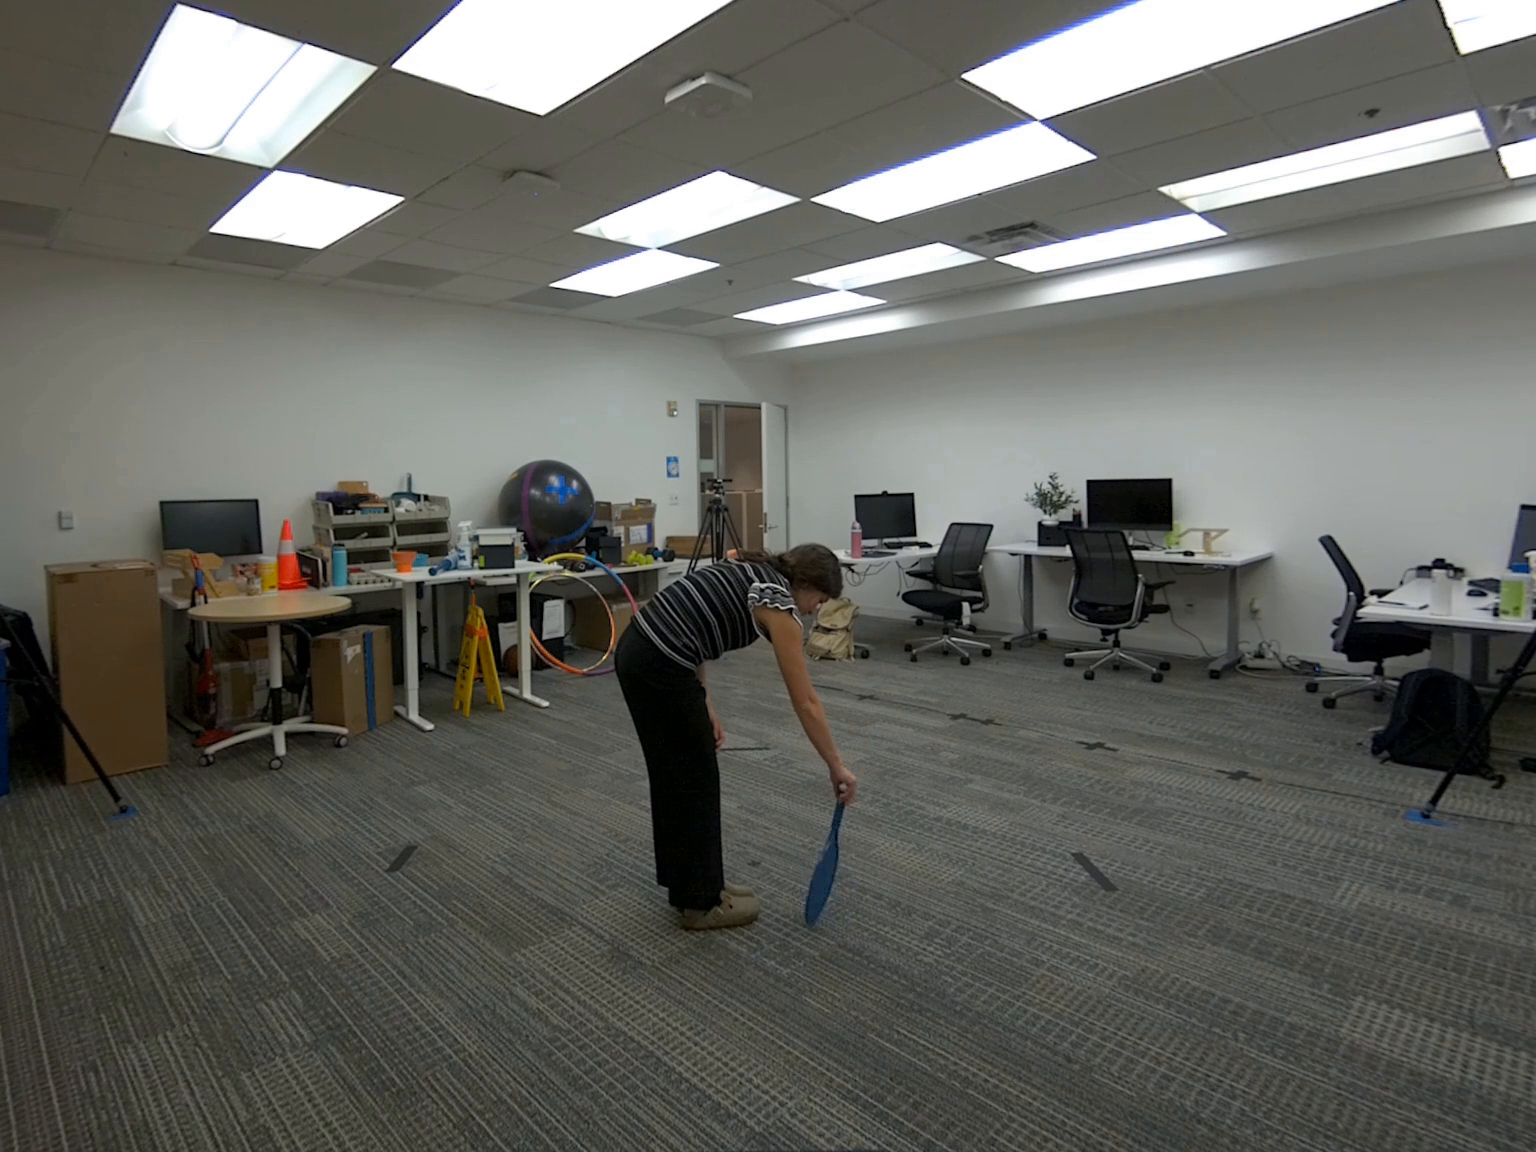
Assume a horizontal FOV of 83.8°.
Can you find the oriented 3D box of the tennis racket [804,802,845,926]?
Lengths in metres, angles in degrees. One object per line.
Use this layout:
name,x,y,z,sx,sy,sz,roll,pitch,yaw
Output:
tennis racket,0.189,0.873,2.676,0.032,0.433,0.210,16,-1,14
